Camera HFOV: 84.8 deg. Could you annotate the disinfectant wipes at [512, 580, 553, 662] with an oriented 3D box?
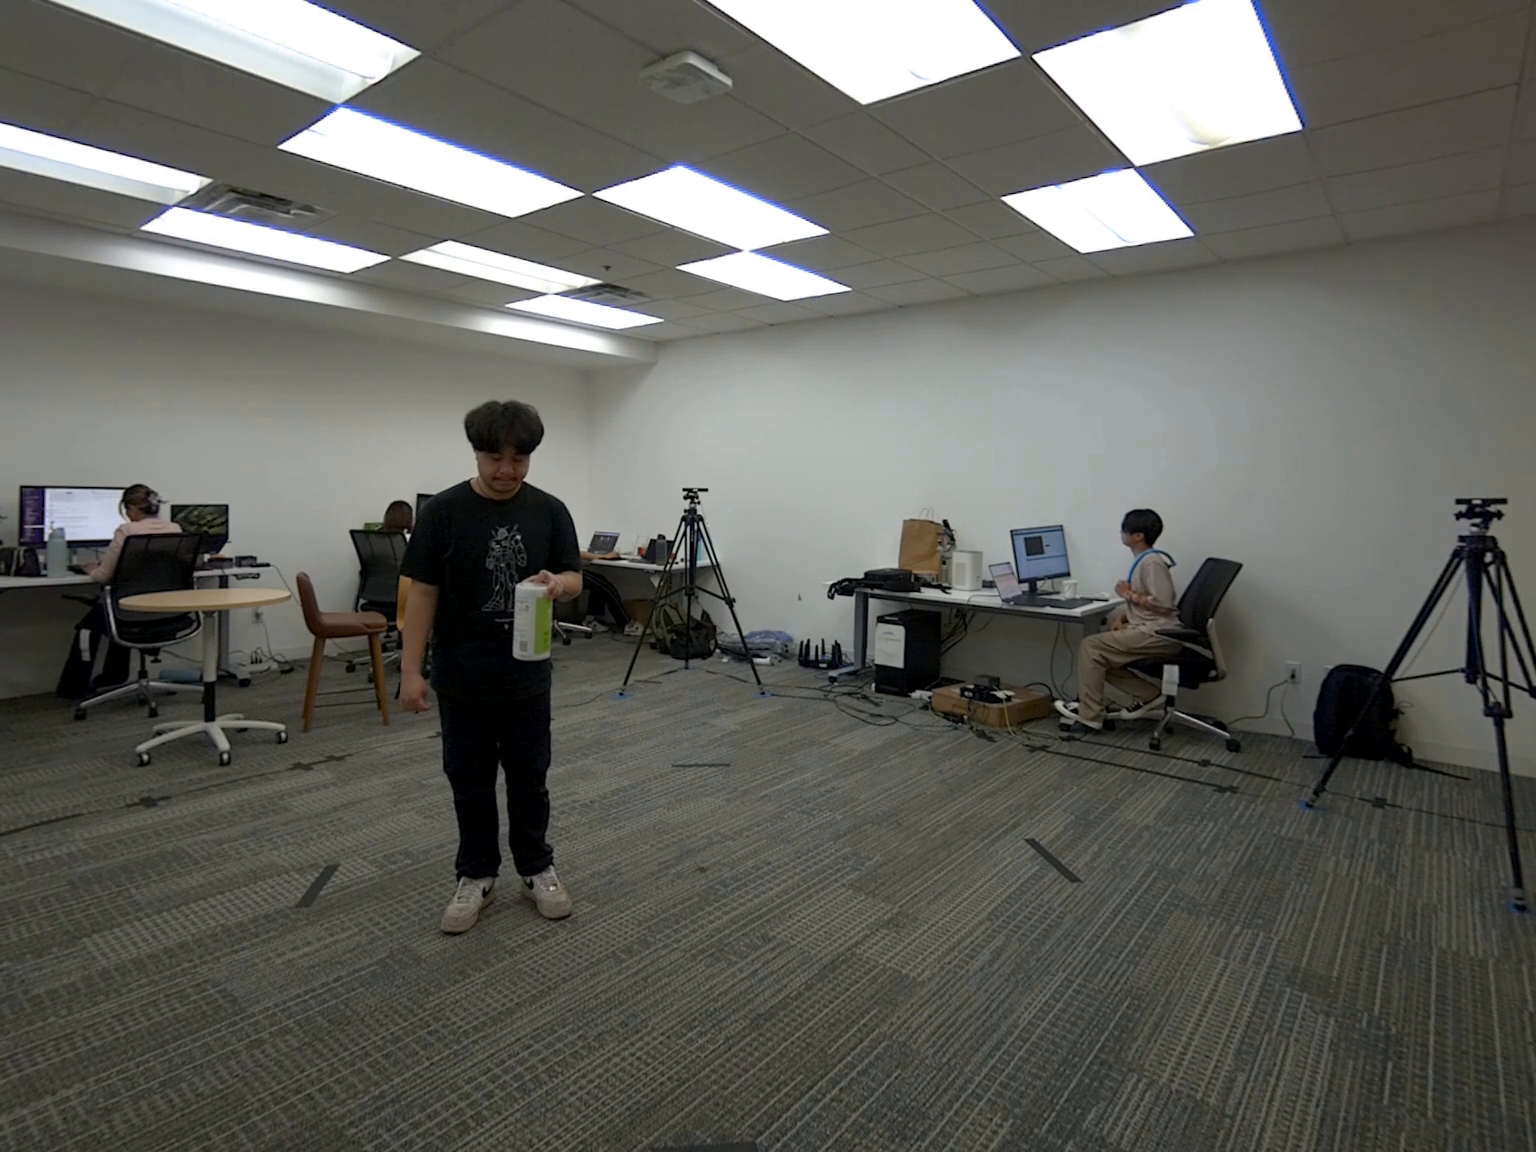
[{"bbox_3d":[-0.703,0.130,2.500,0.117,0.216,0.118,3,6,-2],"label":"disinfectant wipes"}]
